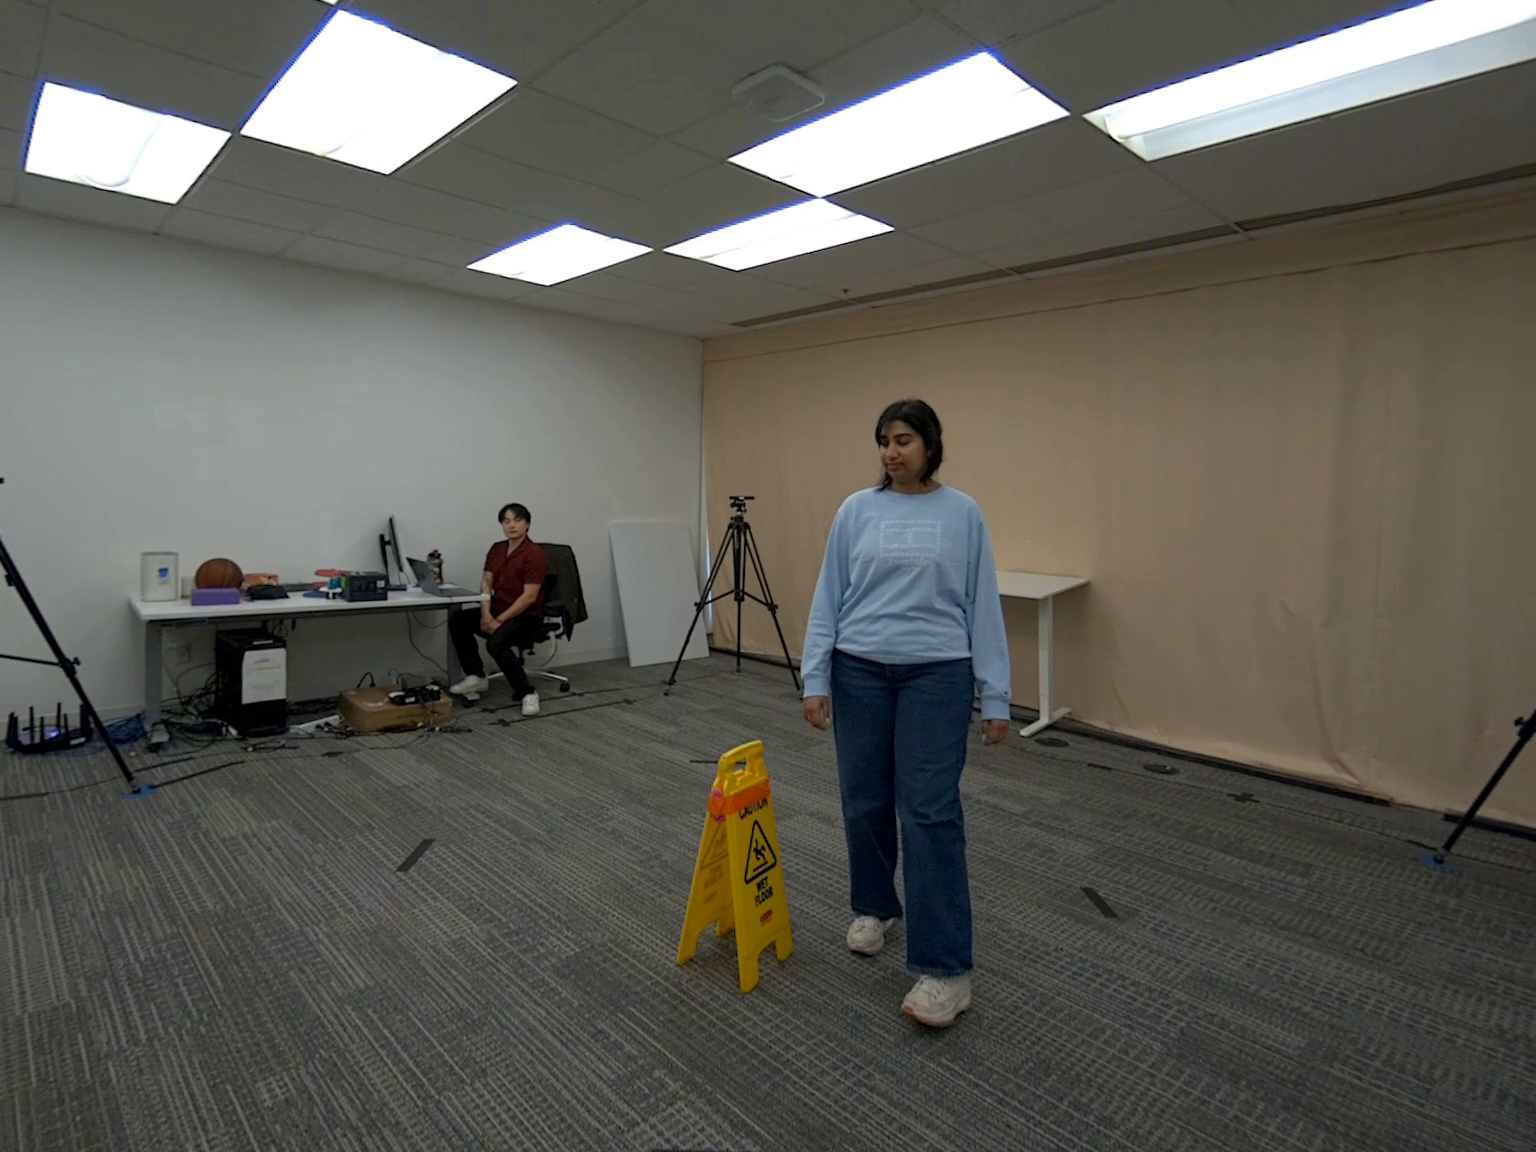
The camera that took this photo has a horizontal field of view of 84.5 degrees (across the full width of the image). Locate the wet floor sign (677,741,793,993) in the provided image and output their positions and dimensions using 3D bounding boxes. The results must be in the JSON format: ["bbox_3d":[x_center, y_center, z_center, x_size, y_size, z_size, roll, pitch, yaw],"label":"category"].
[{"bbox_3d":[-0.087,0.831,2.519,0.296,0.644,0.277,4,5,33],"label":"wet floor sign"}]
